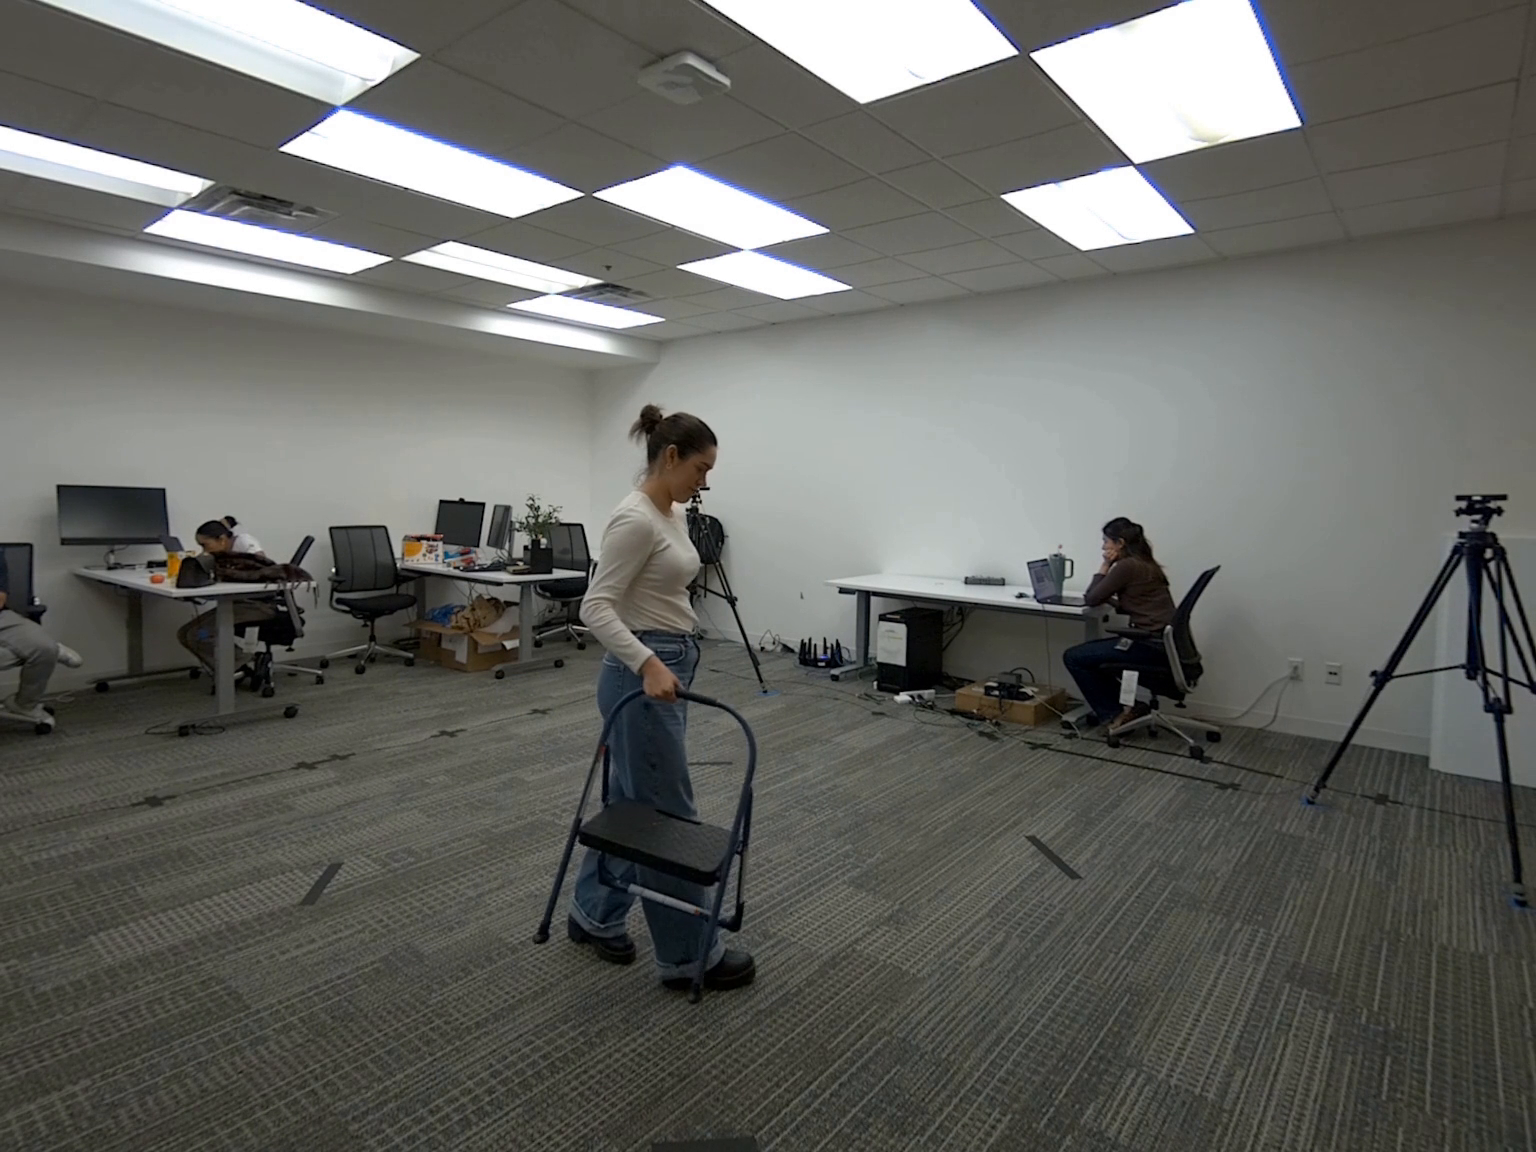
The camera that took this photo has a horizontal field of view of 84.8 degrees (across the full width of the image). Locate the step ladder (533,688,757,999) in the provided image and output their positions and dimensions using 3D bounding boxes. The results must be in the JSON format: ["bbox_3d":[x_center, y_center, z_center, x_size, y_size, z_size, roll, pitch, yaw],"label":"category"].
[{"bbox_3d":[-0.259,0.597,2.085,0.440,0.603,0.344,11,6,16],"label":"step ladder"}]
